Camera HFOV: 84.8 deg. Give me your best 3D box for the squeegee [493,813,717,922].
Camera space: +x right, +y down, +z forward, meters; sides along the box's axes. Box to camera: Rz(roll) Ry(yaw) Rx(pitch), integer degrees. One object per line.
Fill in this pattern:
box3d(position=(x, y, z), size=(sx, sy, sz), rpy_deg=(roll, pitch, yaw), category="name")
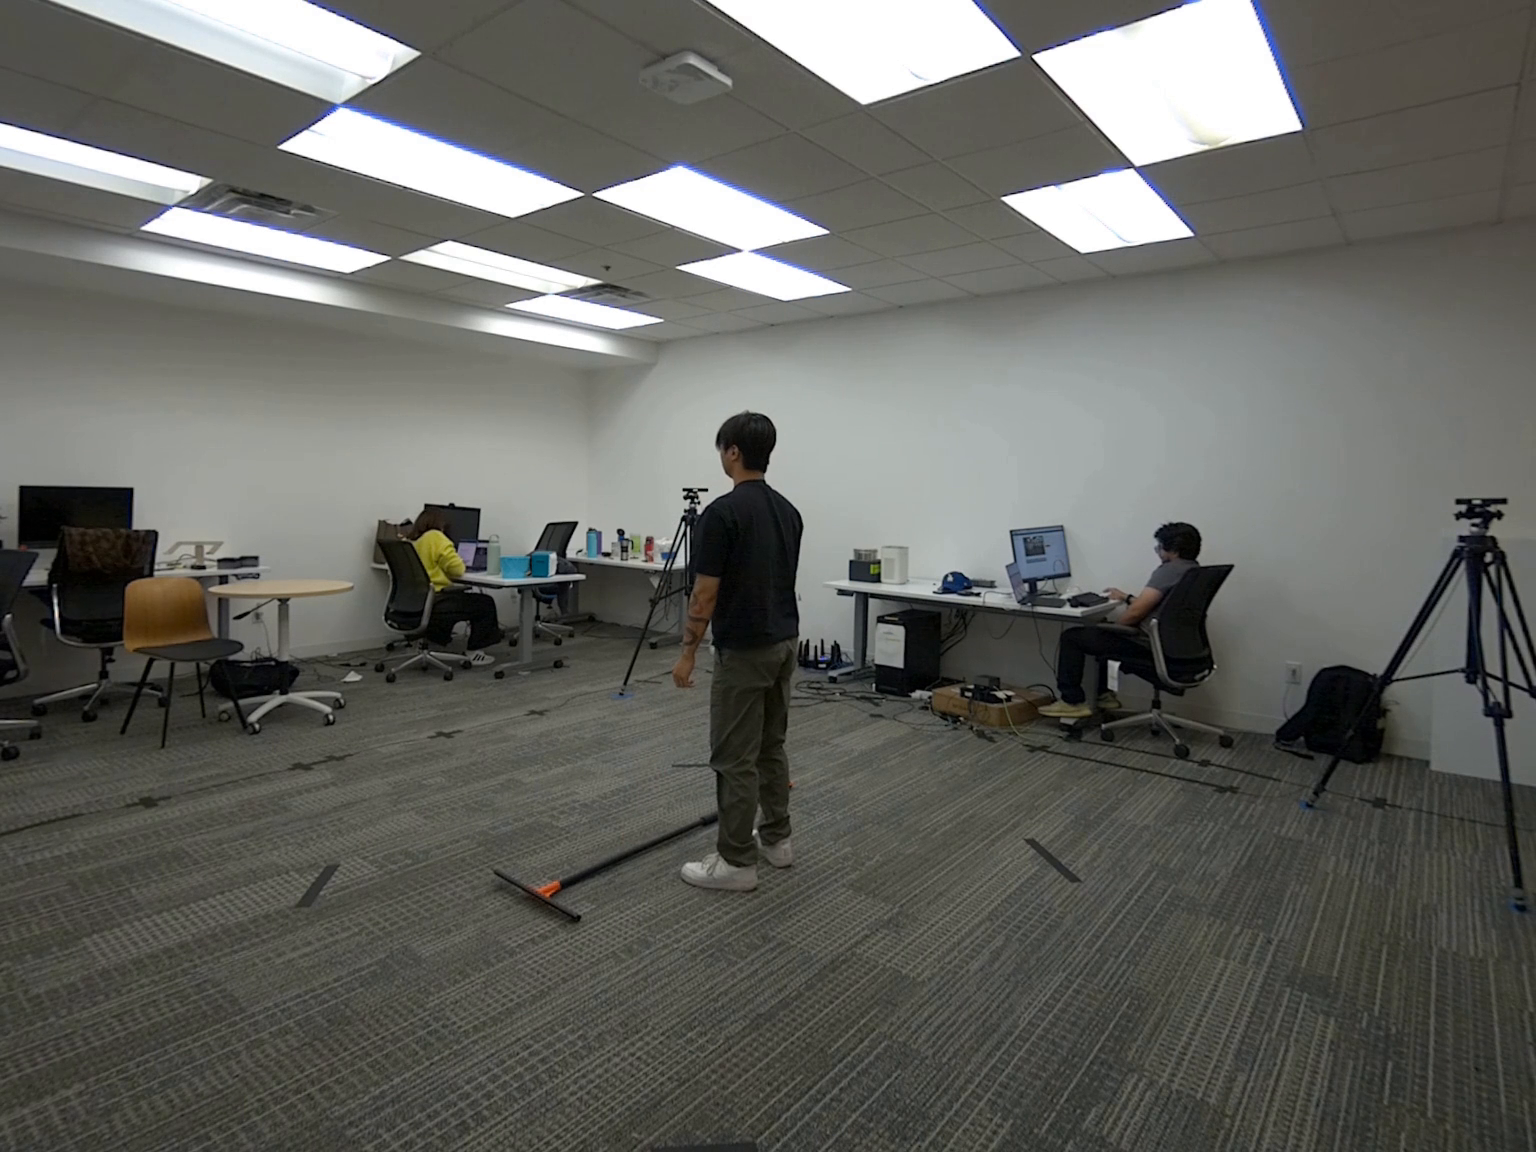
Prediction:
box3d(position=(-0.346, 1.000, 3.403), size=(0.452, 0.053, 1.492), rpy_deg=(7, 8, 38), category="squeegee")
